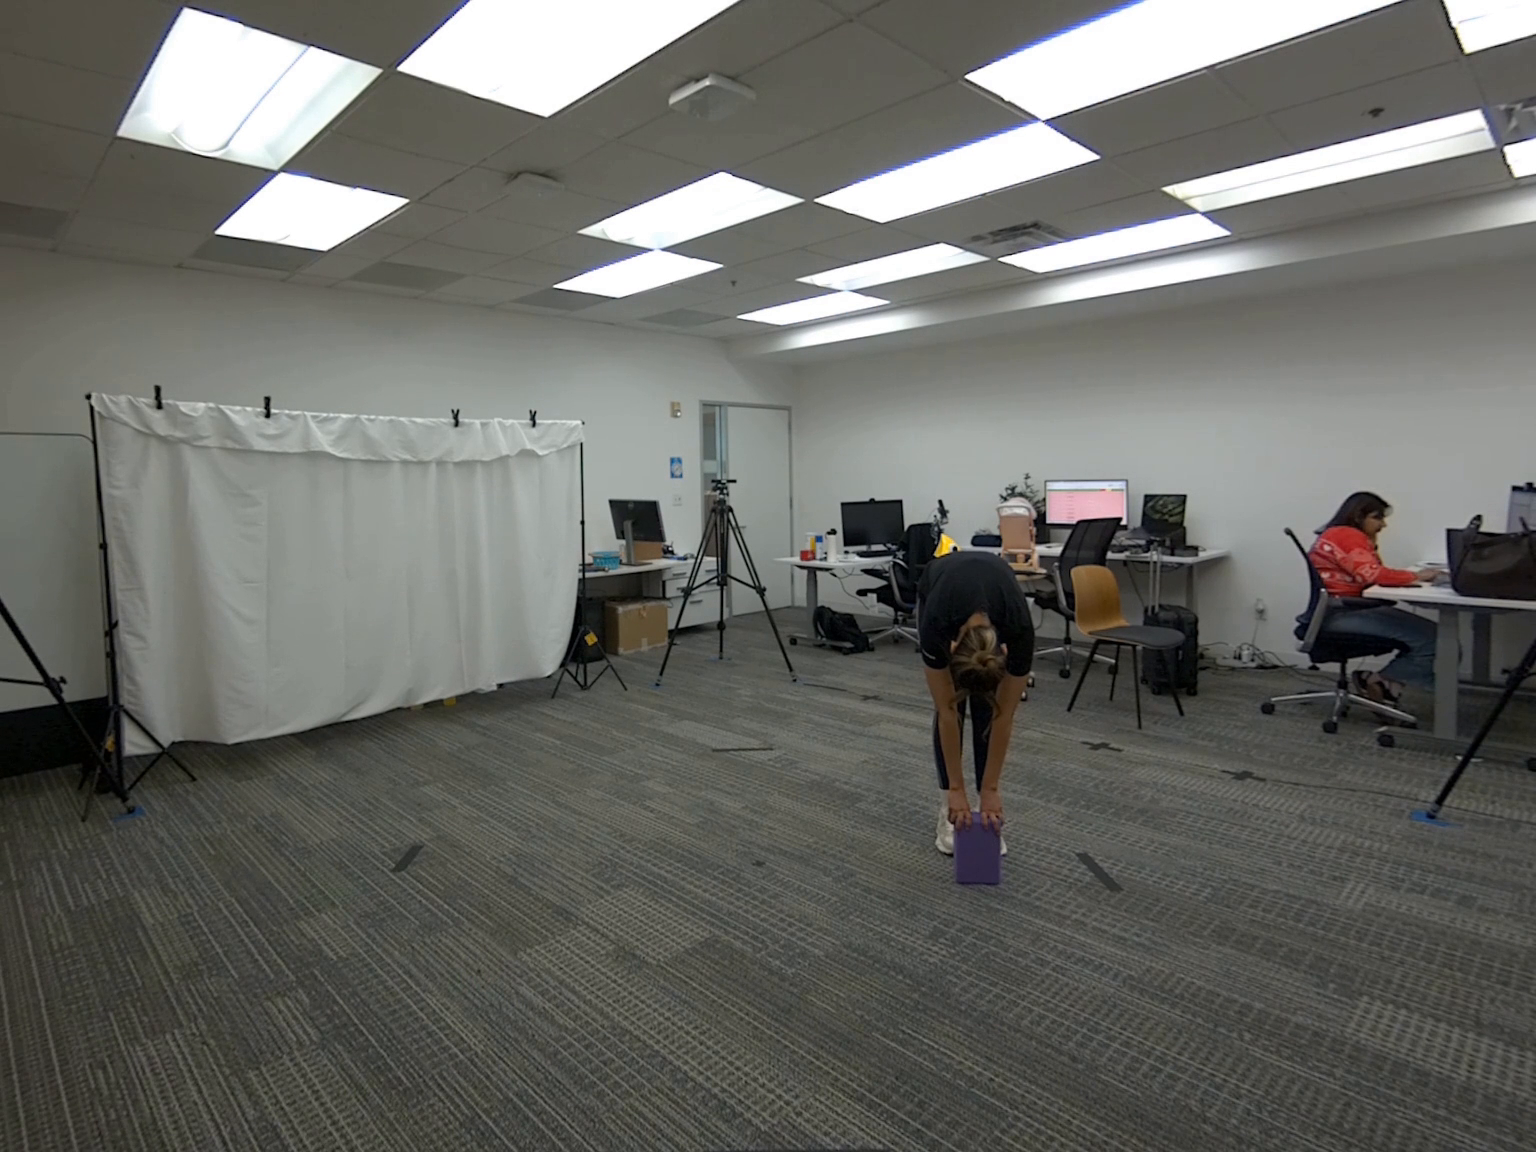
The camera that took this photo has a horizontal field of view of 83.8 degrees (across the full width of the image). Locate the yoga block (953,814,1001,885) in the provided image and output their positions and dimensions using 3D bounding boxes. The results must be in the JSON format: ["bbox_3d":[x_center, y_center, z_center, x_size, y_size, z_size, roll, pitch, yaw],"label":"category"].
[{"bbox_3d":[0.725,0.945,2.942,0.150,0.229,0.076,-2,3,5],"label":"yoga block"}]
